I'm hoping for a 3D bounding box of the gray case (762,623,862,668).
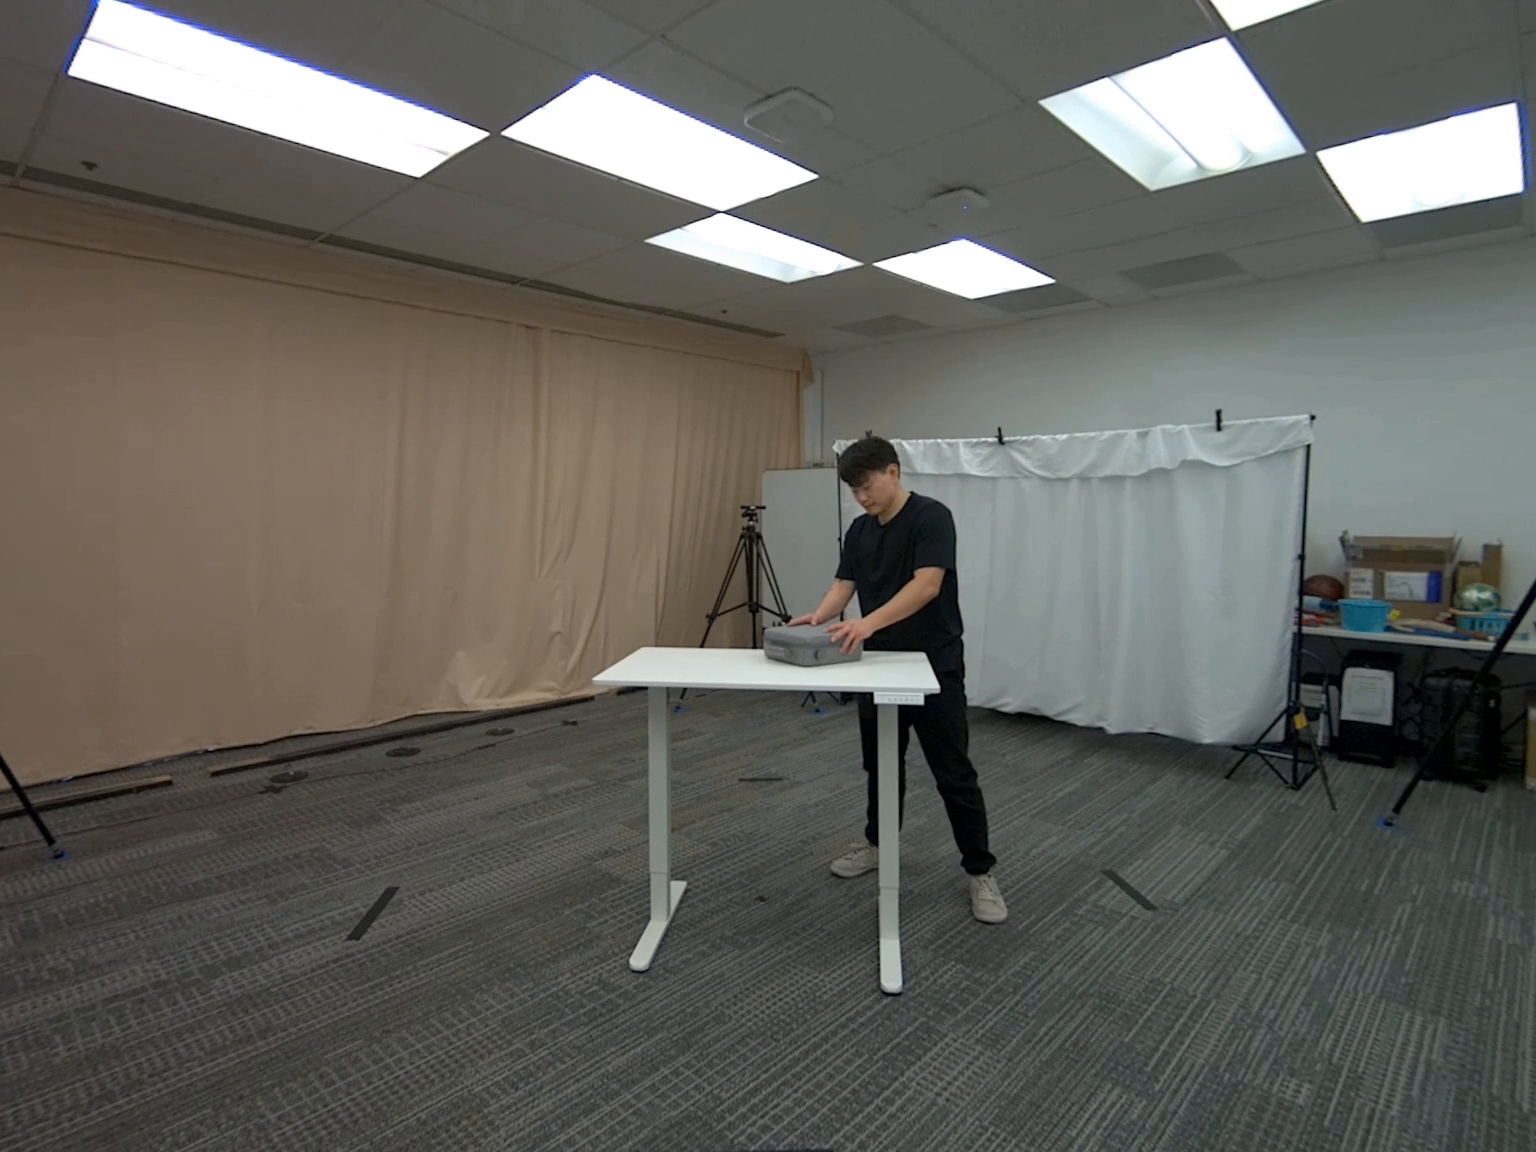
[{"bbox_3d":[0.146,0.228,2.784,0.253,0.104,0.265,-3,5,-32],"label":"gray case"}]
